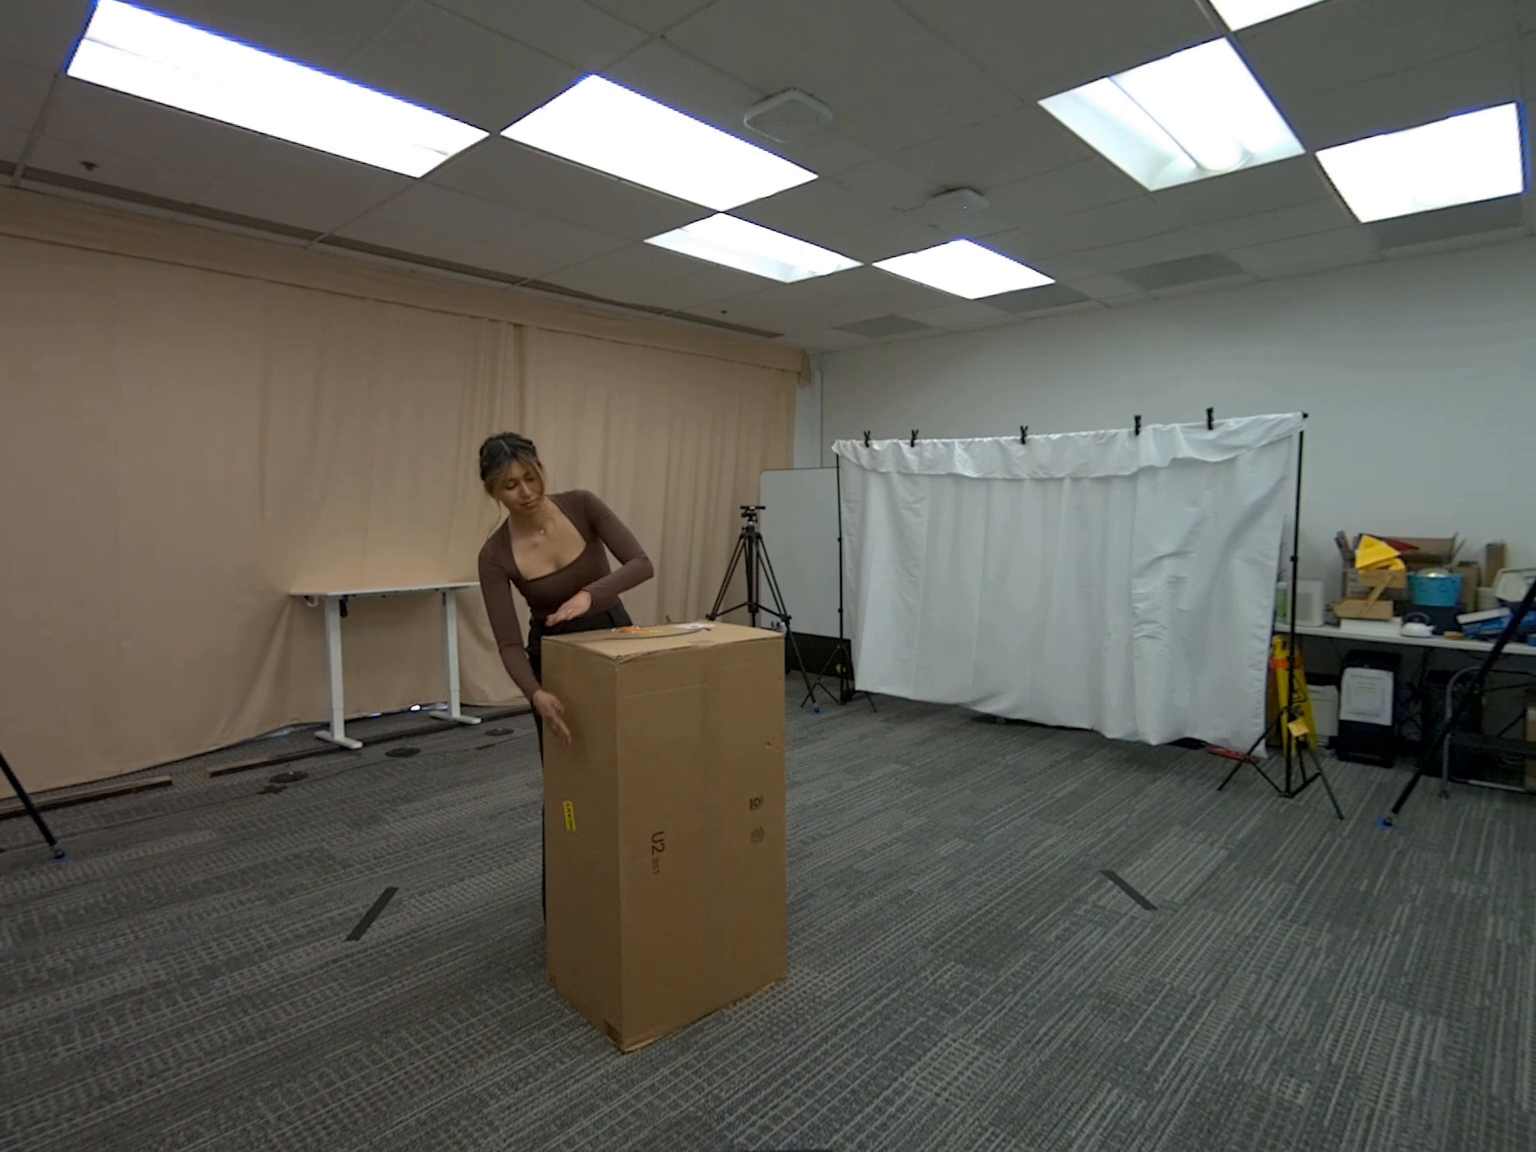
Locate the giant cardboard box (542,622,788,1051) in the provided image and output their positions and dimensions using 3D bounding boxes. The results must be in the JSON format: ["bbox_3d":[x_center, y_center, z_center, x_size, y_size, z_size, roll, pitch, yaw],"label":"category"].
[{"bbox_3d":[-0.293,0.680,2.453,0.566,1.025,0.461,-2,3,-39],"label":"giant cardboard box"}]
